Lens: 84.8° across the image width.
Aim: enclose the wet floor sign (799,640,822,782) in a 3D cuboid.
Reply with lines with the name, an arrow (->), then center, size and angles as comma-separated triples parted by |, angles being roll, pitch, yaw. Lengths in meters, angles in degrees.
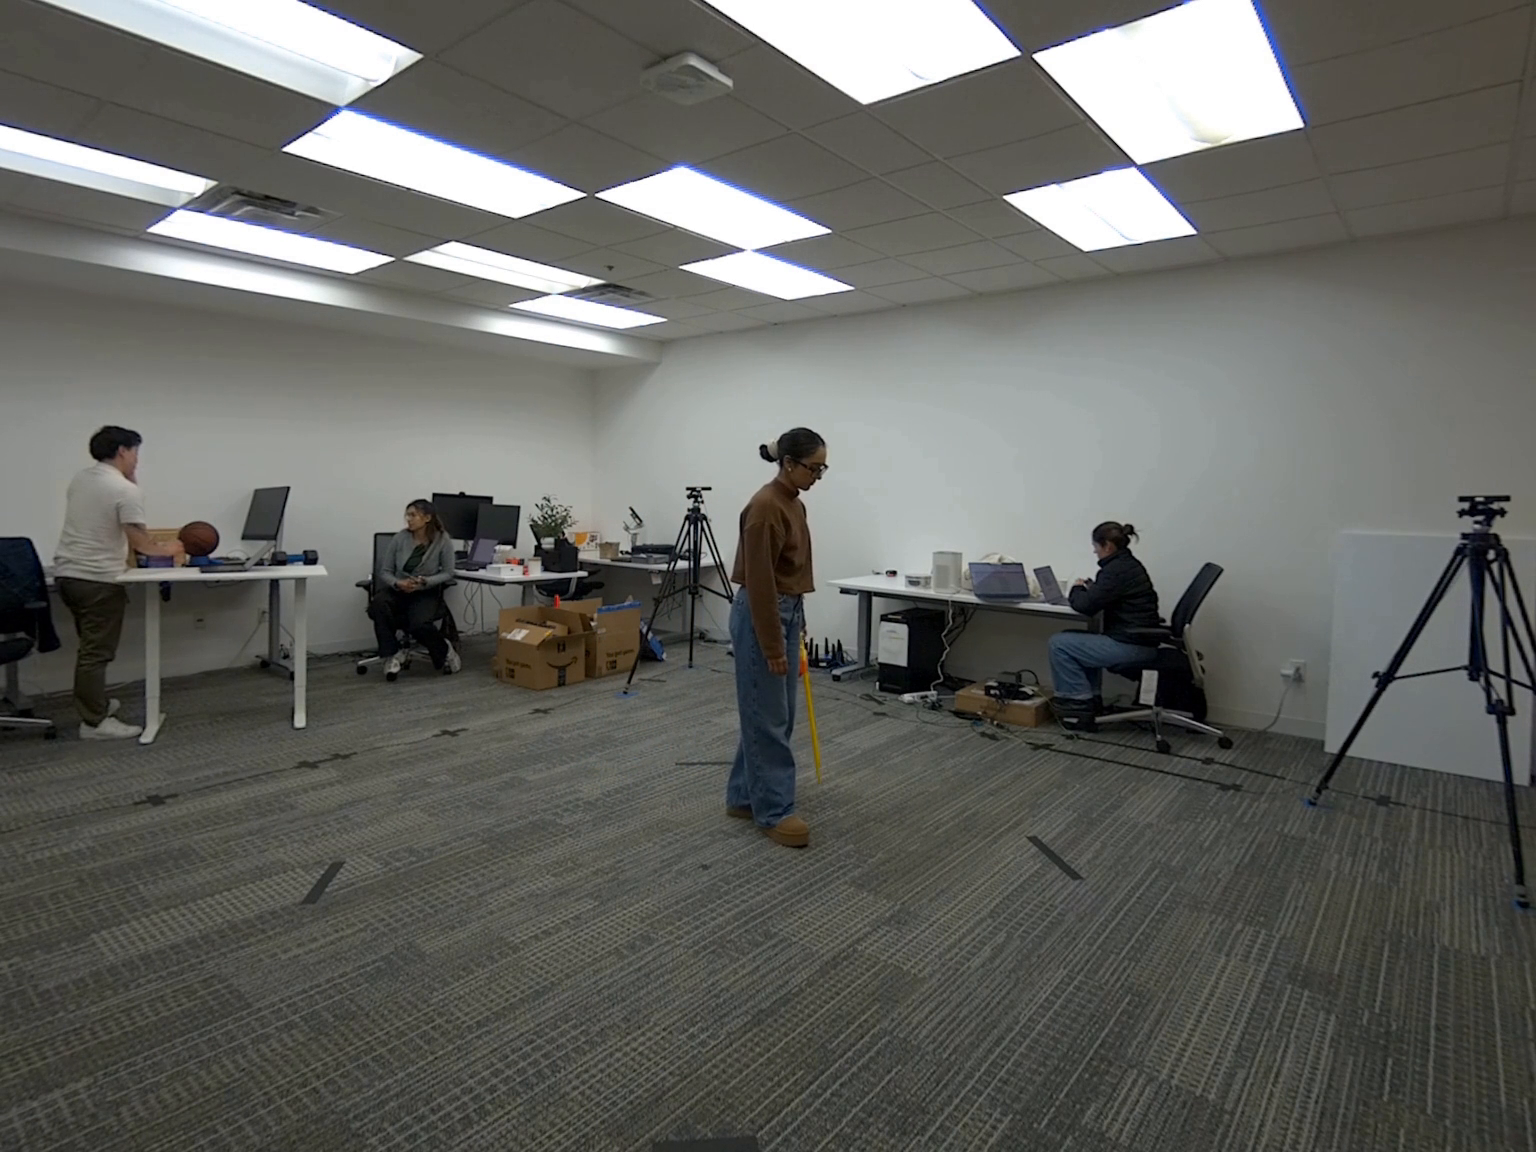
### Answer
wet floor sign -> 0.115, 0.564, 3.838 | 0.291, 0.643, 0.282 | 2, 5, 4
